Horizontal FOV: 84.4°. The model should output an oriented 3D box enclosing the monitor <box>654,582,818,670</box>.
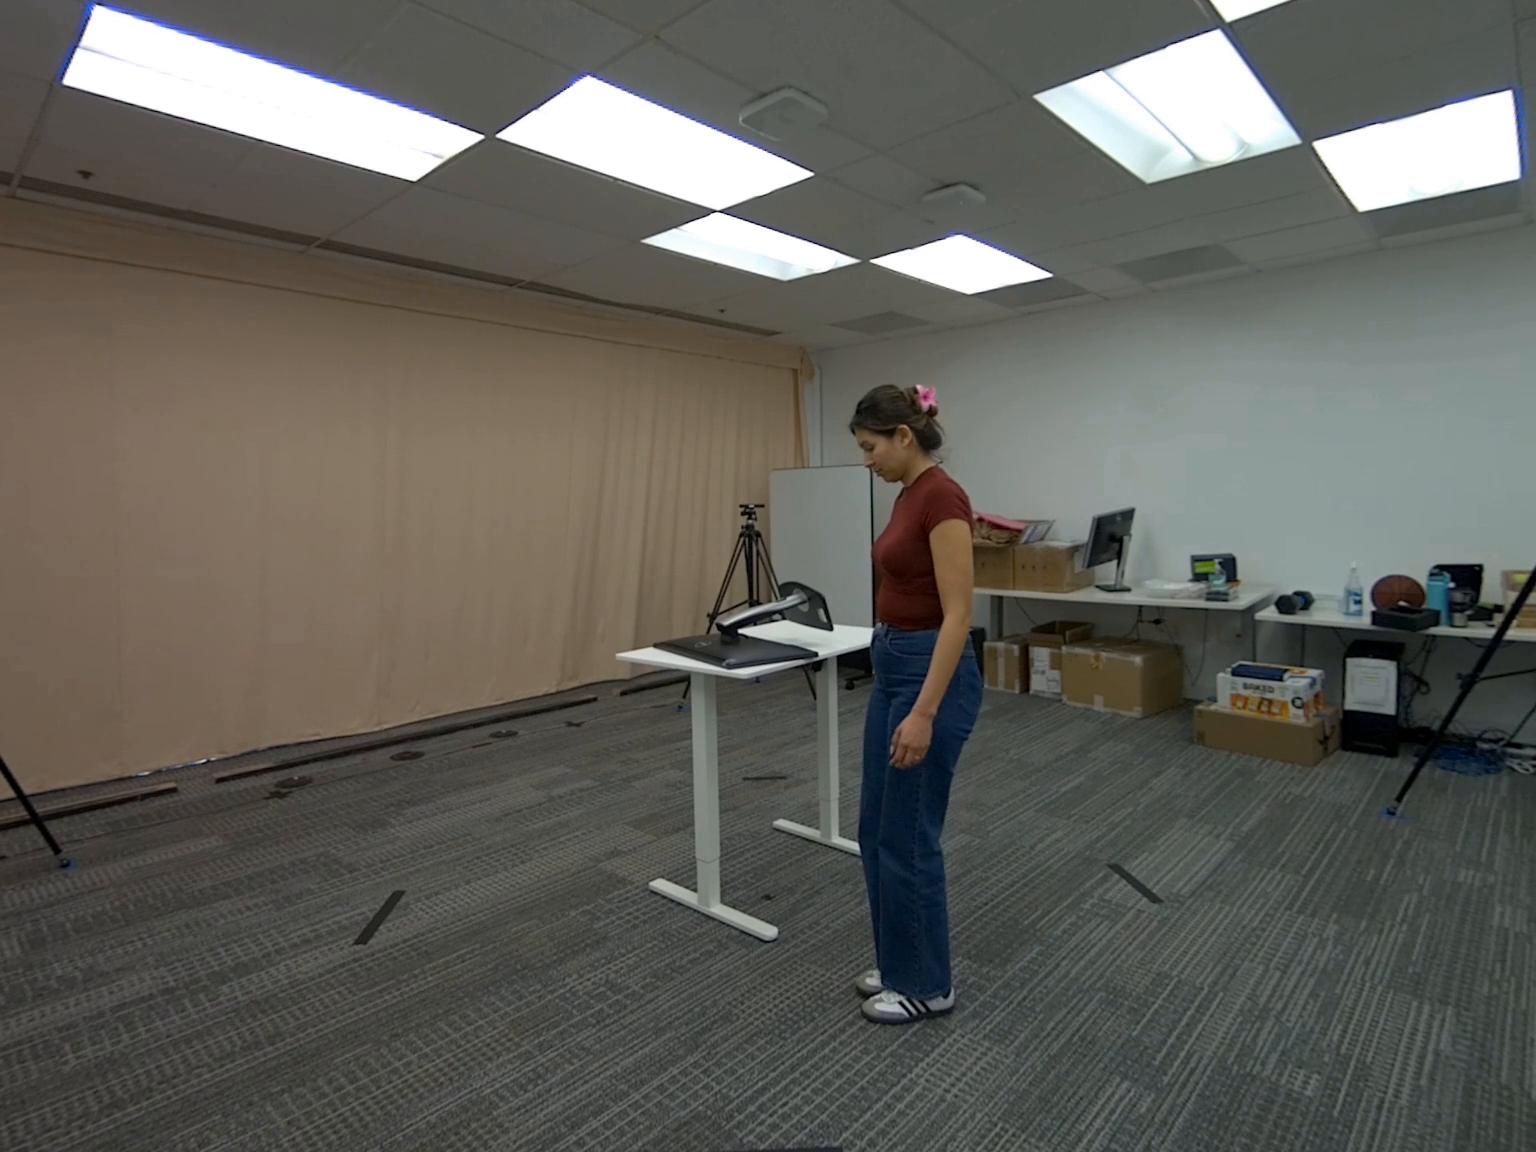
[{"bbox_3d":[-0.058,0.196,2.964,0.513,0.185,0.555,-24,15,-28],"label":"monitor"}]
